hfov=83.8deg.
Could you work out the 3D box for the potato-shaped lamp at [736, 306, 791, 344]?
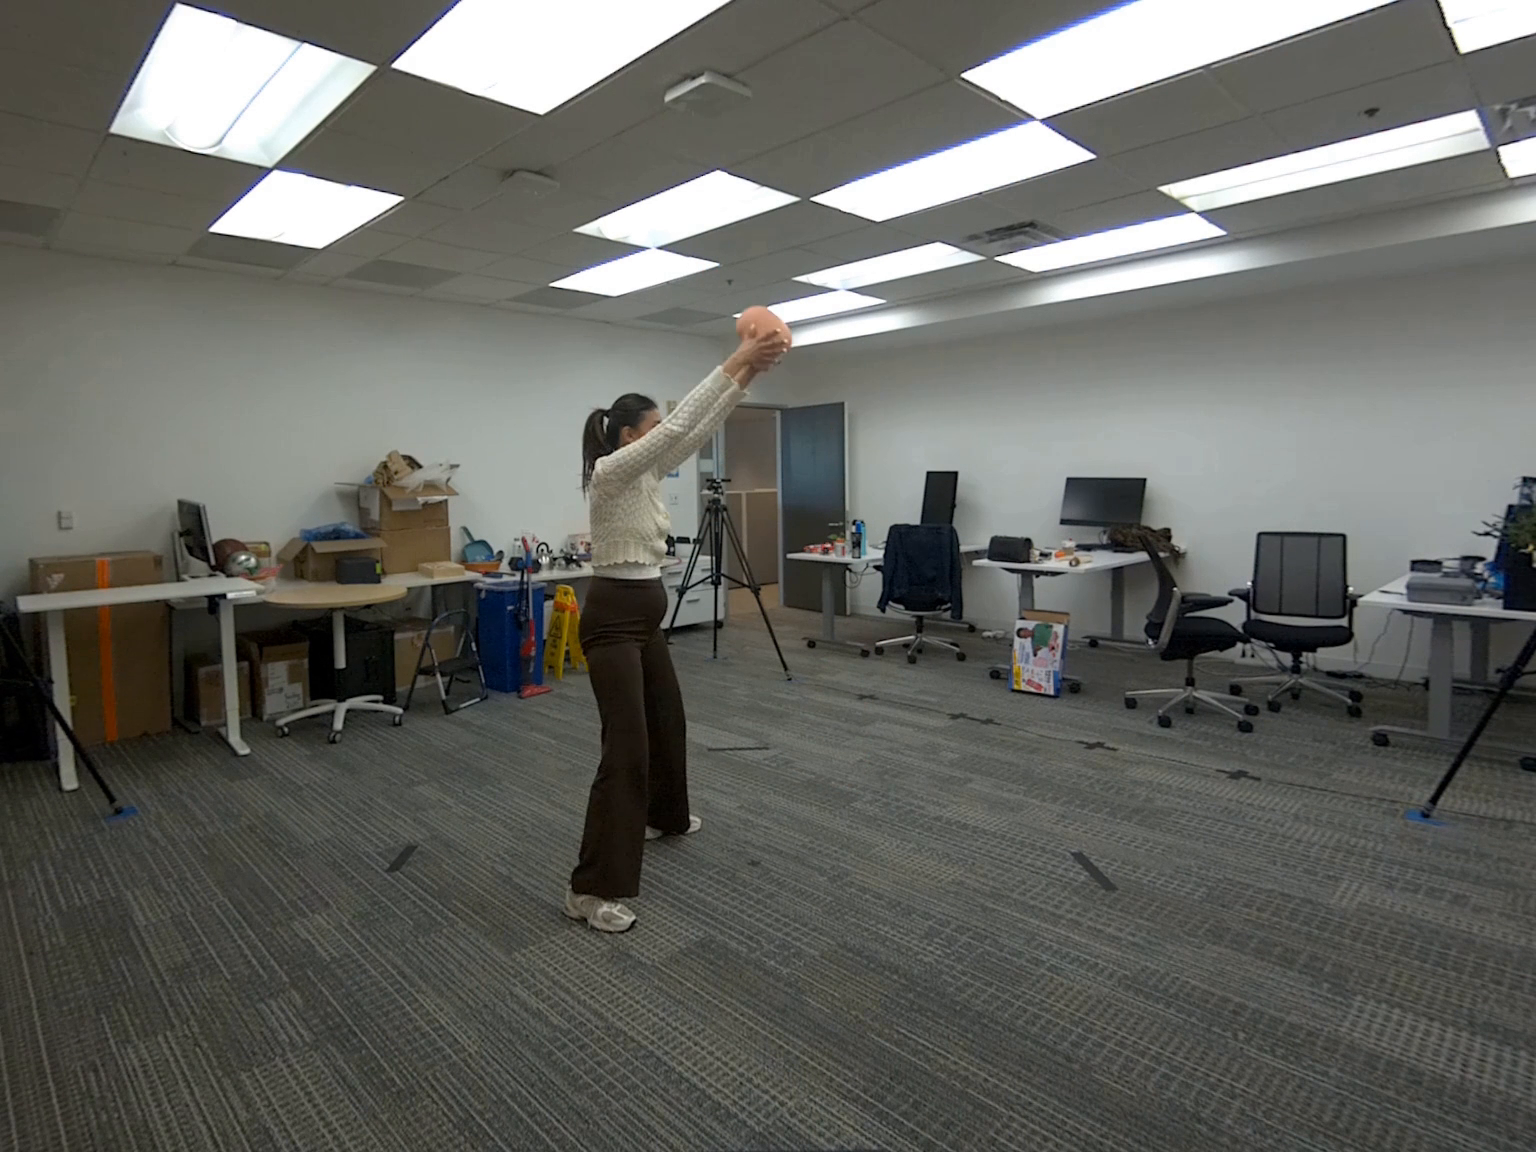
[{"bbox_3d":[-0.020,-0.788,2.845,0.172,0.198,0.165,-38,3,14],"label":"potato-shaped lamp"}]
